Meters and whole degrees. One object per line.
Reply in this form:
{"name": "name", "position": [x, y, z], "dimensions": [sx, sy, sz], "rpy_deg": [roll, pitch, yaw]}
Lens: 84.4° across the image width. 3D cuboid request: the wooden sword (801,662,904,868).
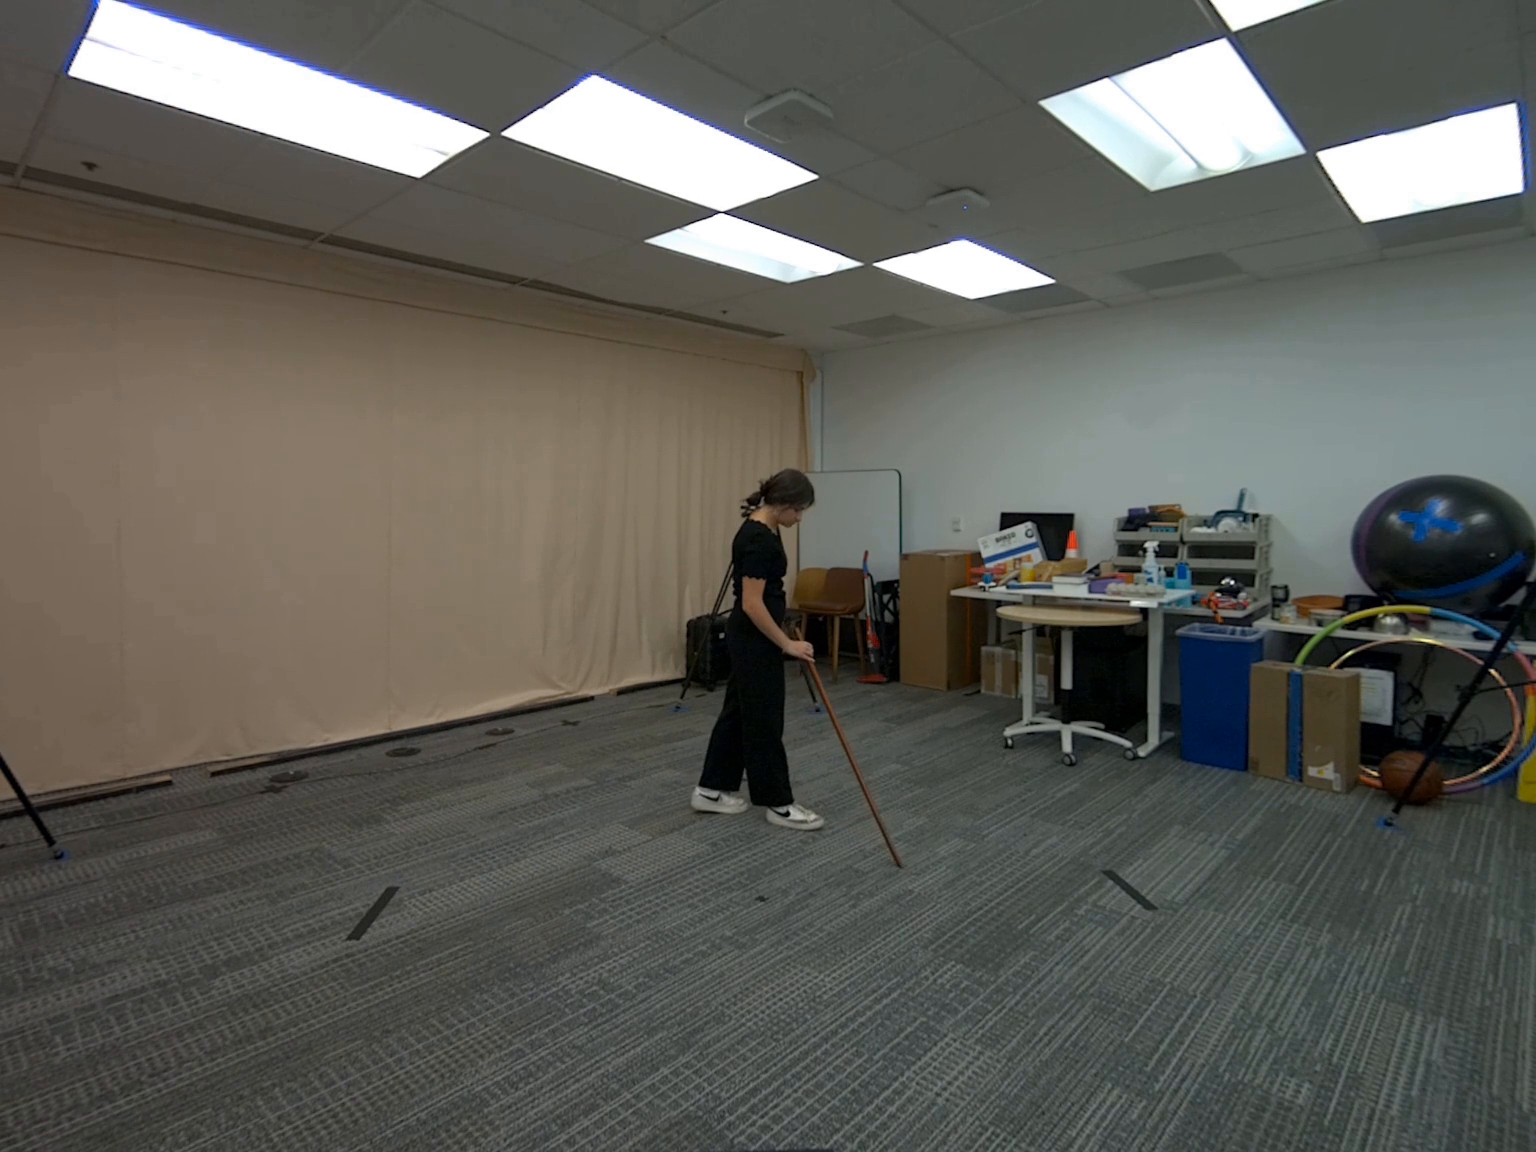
{"name": "wooden sword", "position": [0.331, 0.691, 3.438], "dimensions": [0.024, 1.046, 0.051], "rpy_deg": [-20, -22, -12]}
